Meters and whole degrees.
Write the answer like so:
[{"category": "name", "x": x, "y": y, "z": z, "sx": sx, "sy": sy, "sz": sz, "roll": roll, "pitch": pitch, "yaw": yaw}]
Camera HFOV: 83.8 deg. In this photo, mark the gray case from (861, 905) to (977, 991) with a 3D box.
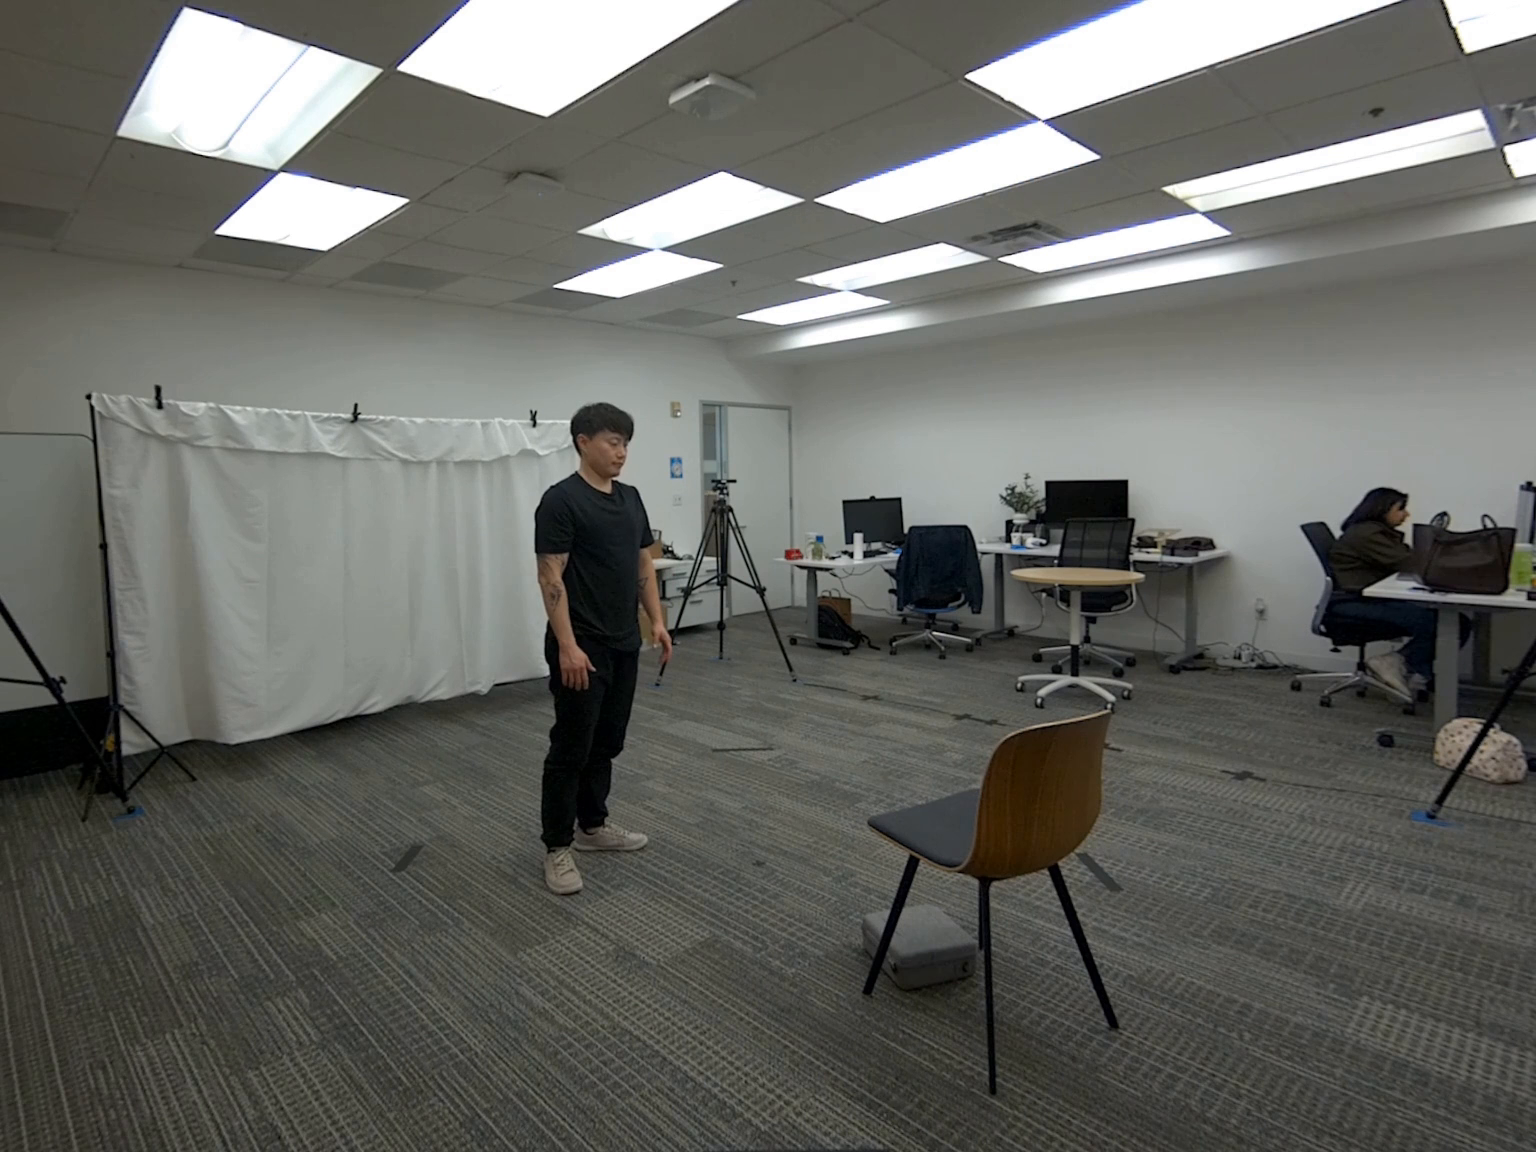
[{"category": "gray case", "x": 0.440, "y": 1.057, "z": 2.461, "sx": 0.256, "sy": 0.104, "sz": 0.262, "roll": -1, "pitch": 5, "yaw": -19}]
